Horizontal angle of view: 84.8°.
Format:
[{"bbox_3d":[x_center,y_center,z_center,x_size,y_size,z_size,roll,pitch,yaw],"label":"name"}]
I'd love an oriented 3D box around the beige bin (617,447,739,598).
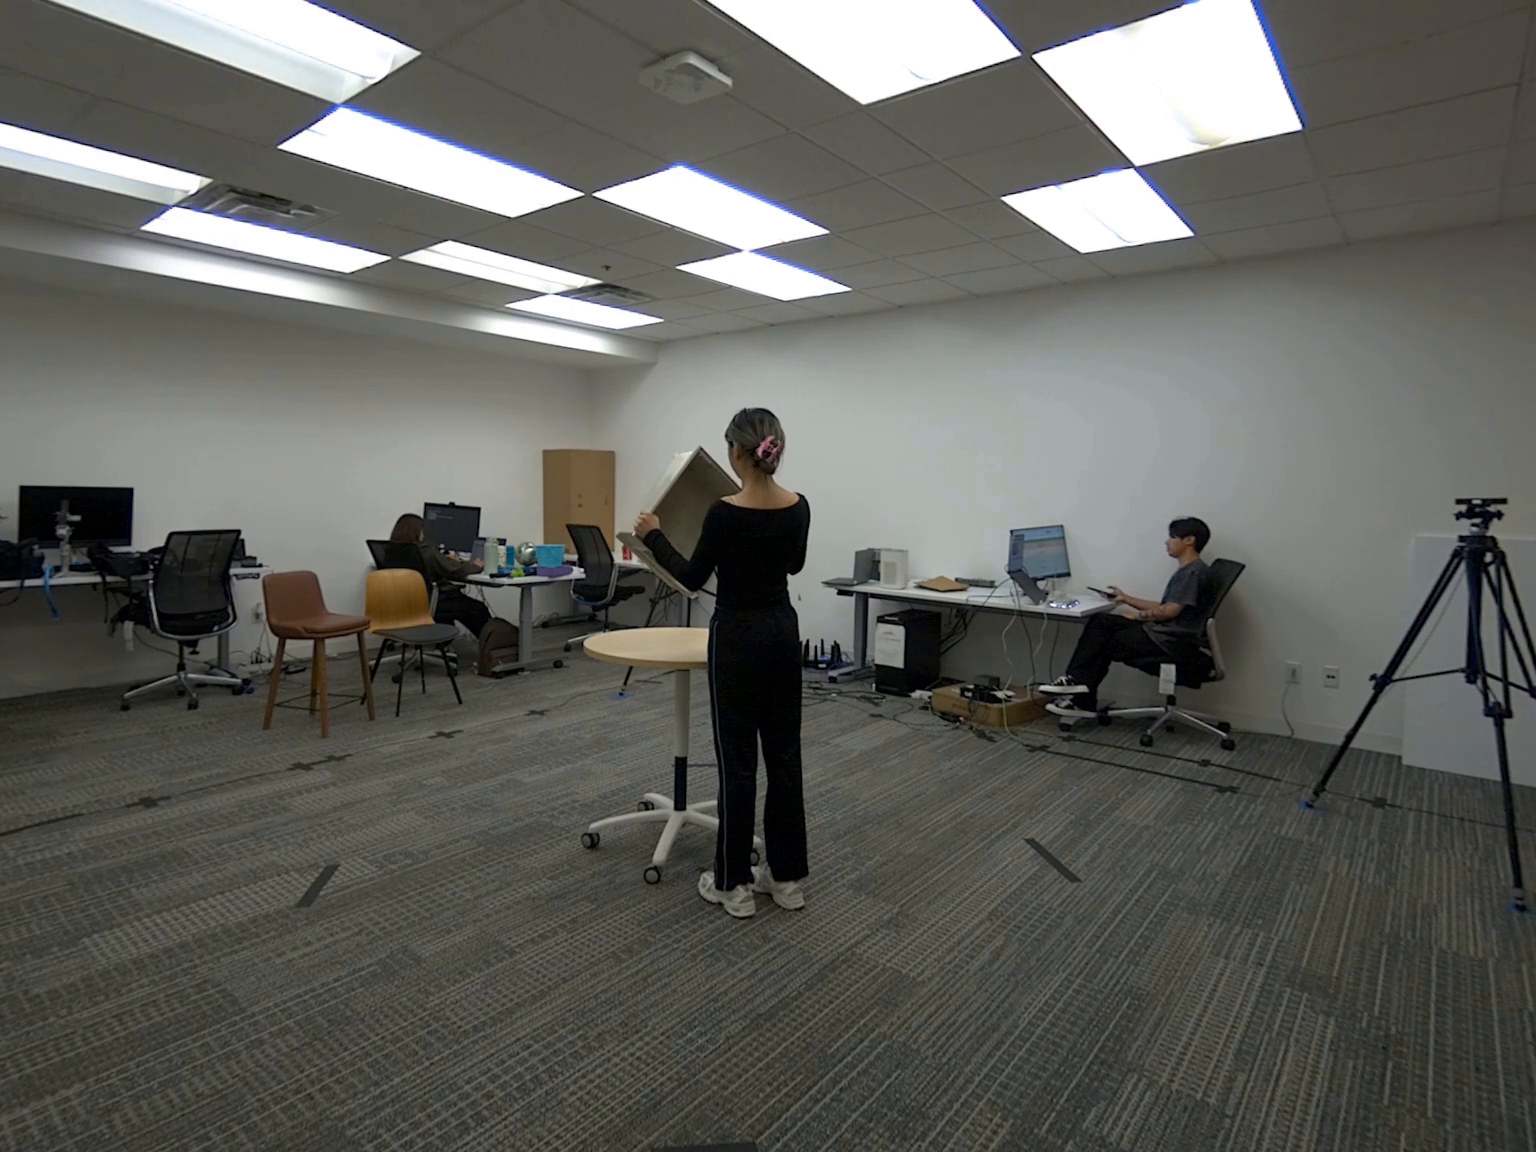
[{"bbox_3d":[-0.295,-0.192,3.146,0.366,0.424,0.194,44,-22,-24],"label":"beige bin"}]
